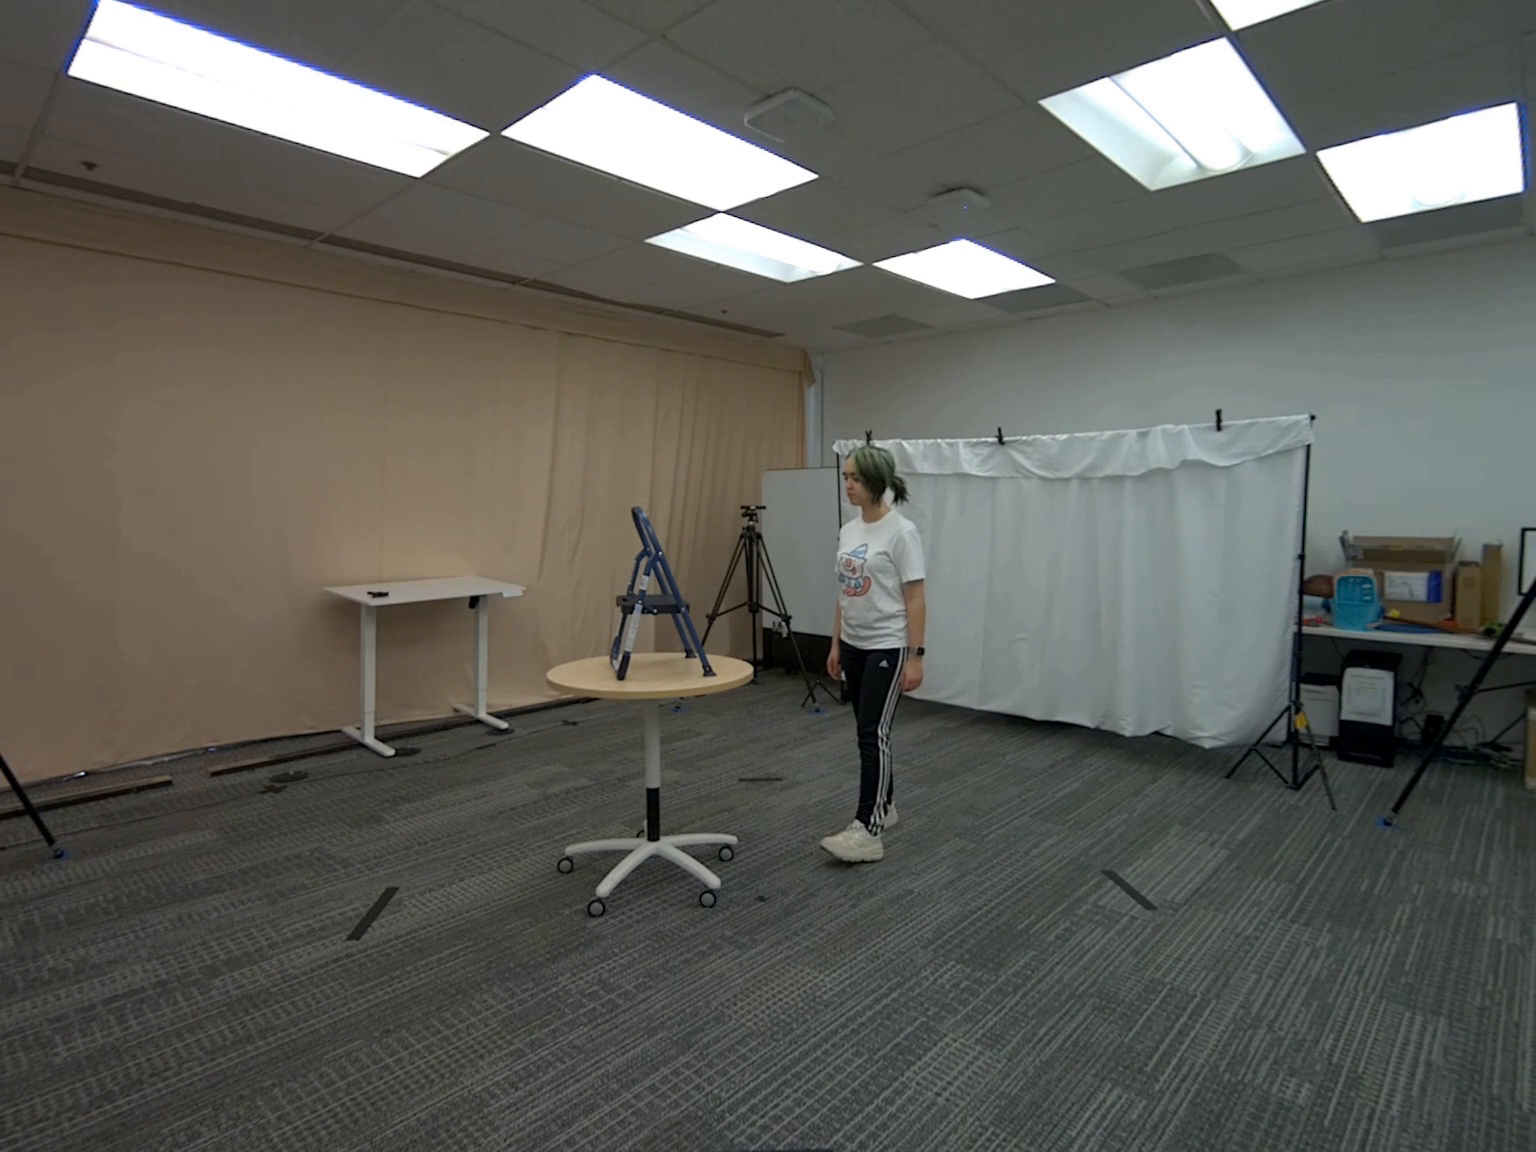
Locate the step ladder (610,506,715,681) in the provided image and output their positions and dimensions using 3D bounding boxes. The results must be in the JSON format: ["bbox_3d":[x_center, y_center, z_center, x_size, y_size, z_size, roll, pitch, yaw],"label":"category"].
[{"bbox_3d":[-0.417,0.047,3.154,0.344,0.605,0.437,-1,3,-14],"label":"step ladder"}]
